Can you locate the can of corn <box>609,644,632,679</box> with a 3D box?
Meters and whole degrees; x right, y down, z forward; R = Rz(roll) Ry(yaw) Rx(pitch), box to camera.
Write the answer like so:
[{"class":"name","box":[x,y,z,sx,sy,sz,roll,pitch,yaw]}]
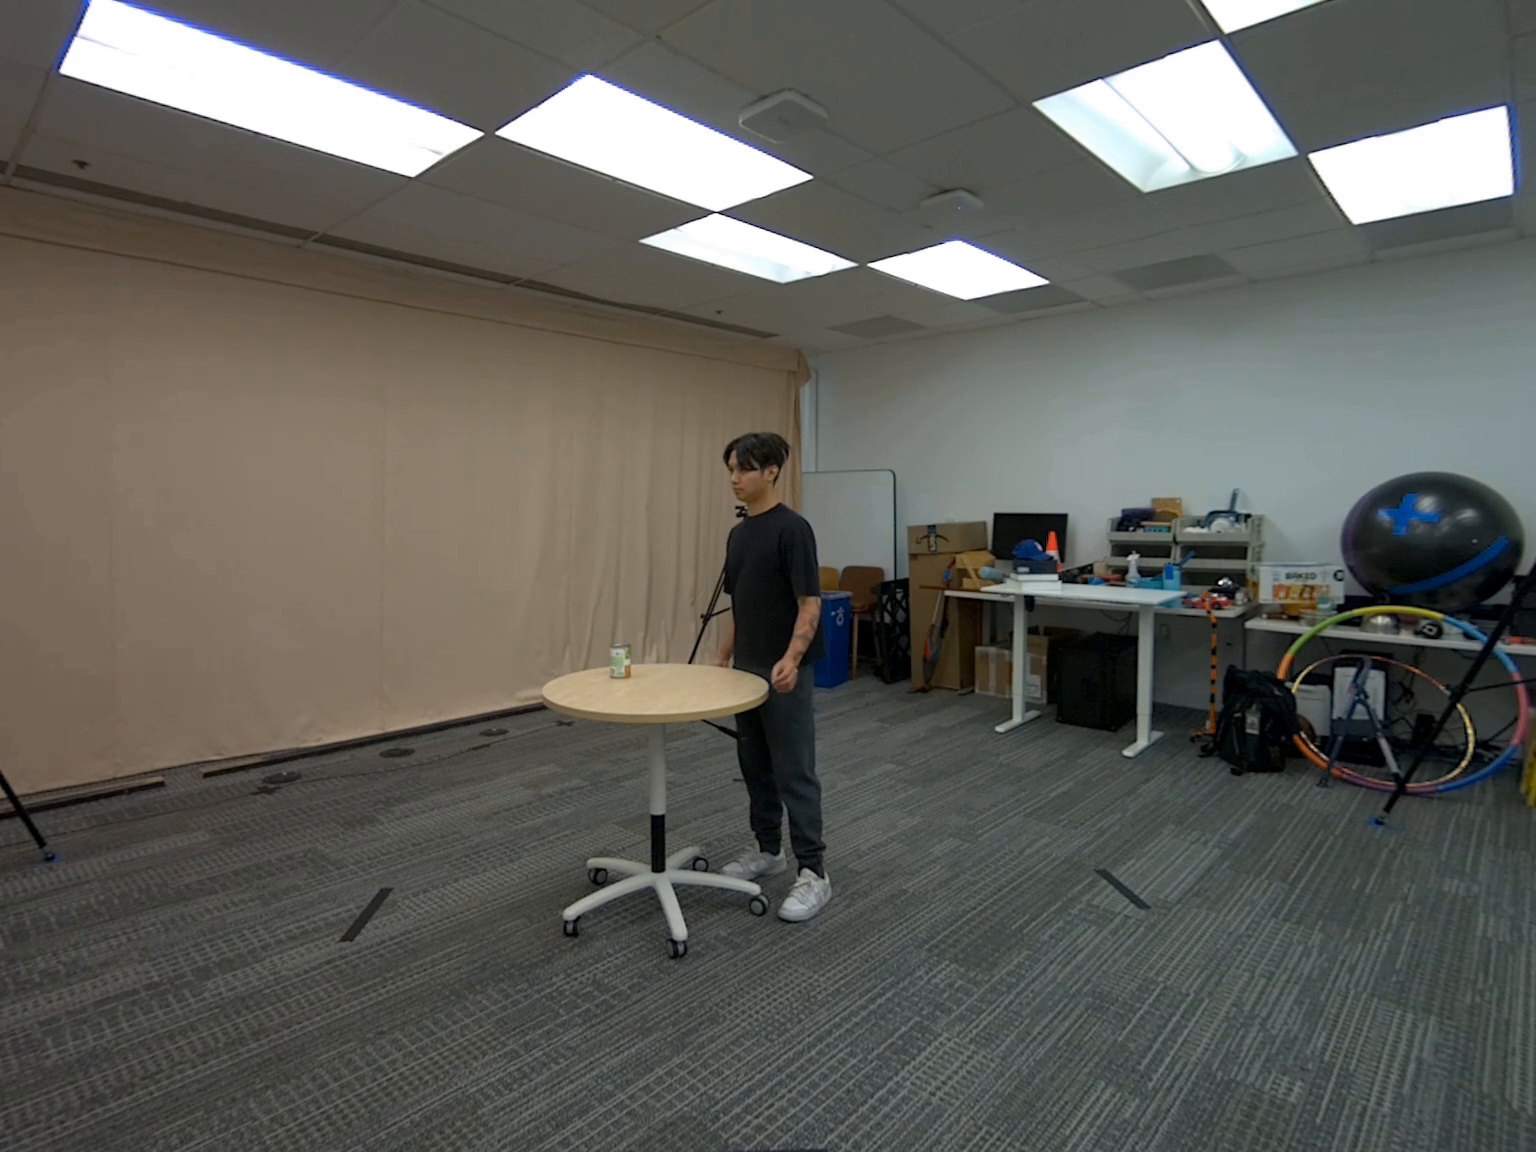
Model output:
[{"class":"can of corn","box":[-0.528,0.308,3.008,0.074,0.111,0.074,-2,2,-2]}]
